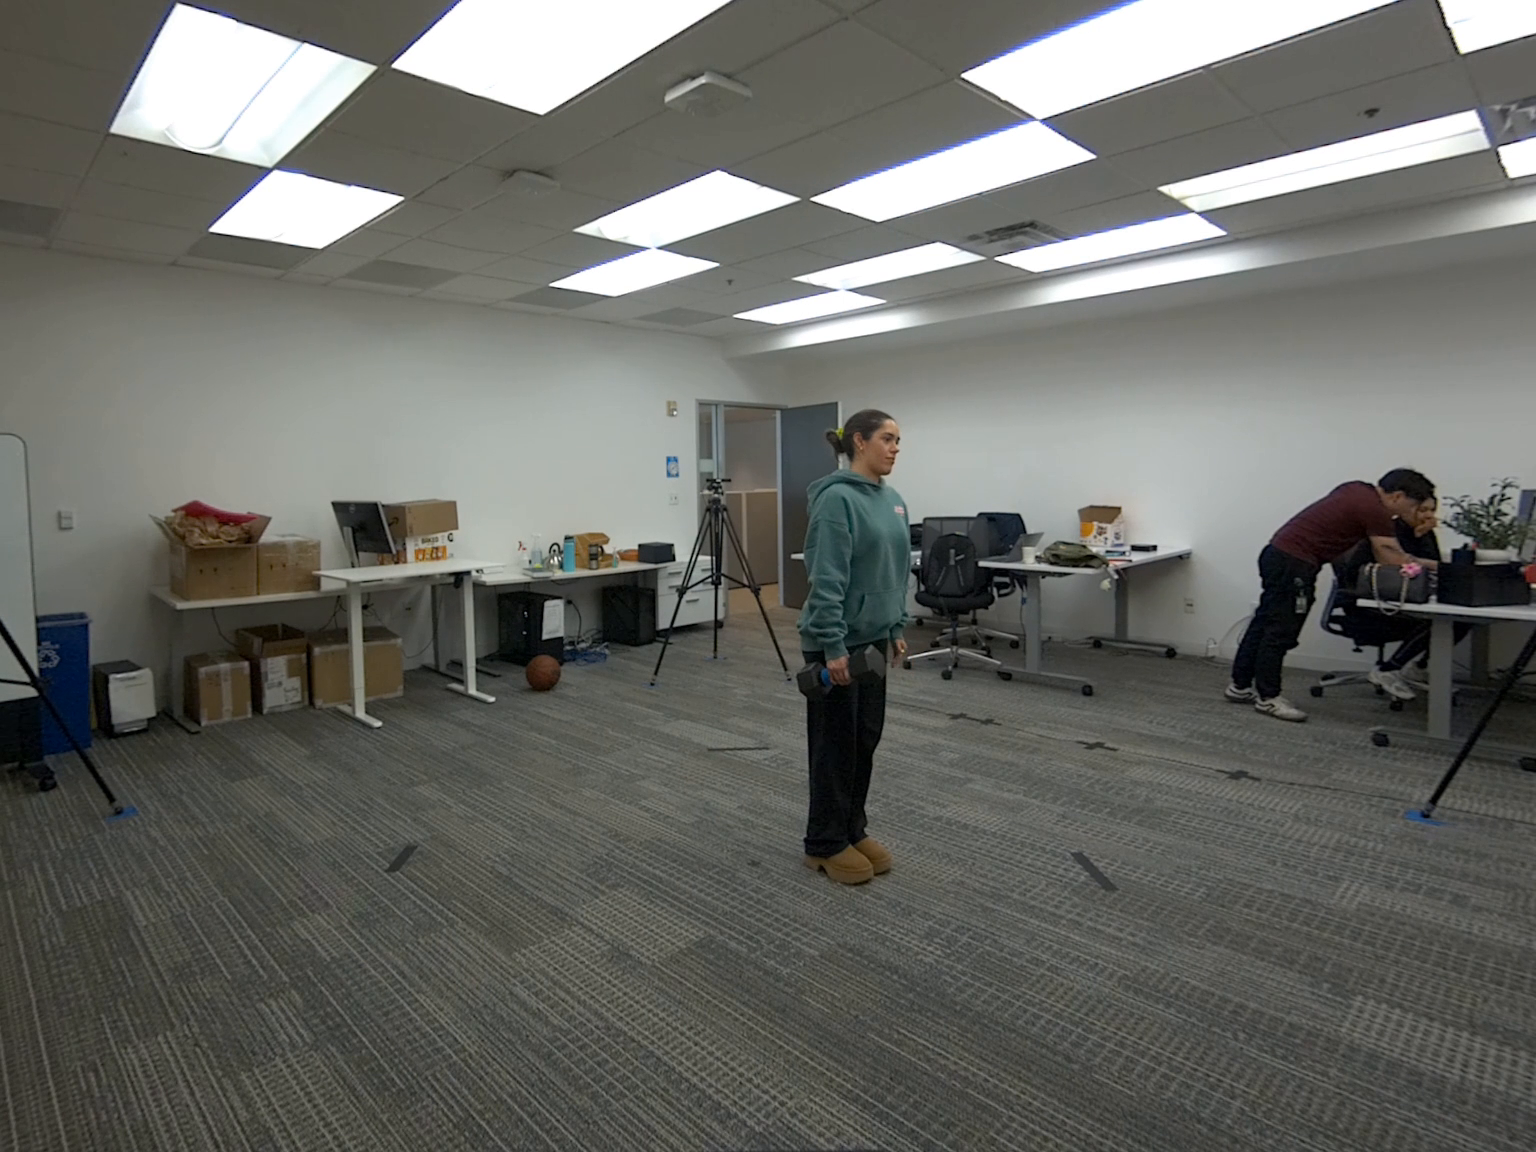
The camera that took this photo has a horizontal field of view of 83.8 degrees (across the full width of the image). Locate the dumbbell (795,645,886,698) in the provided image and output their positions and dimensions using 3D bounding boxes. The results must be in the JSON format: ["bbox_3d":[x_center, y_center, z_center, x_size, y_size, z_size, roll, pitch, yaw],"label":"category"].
[{"bbox_3d":[0.241,0.320,2.808,0.298,0.111,0.119,-23,-52,36],"label":"dumbbell"}]
